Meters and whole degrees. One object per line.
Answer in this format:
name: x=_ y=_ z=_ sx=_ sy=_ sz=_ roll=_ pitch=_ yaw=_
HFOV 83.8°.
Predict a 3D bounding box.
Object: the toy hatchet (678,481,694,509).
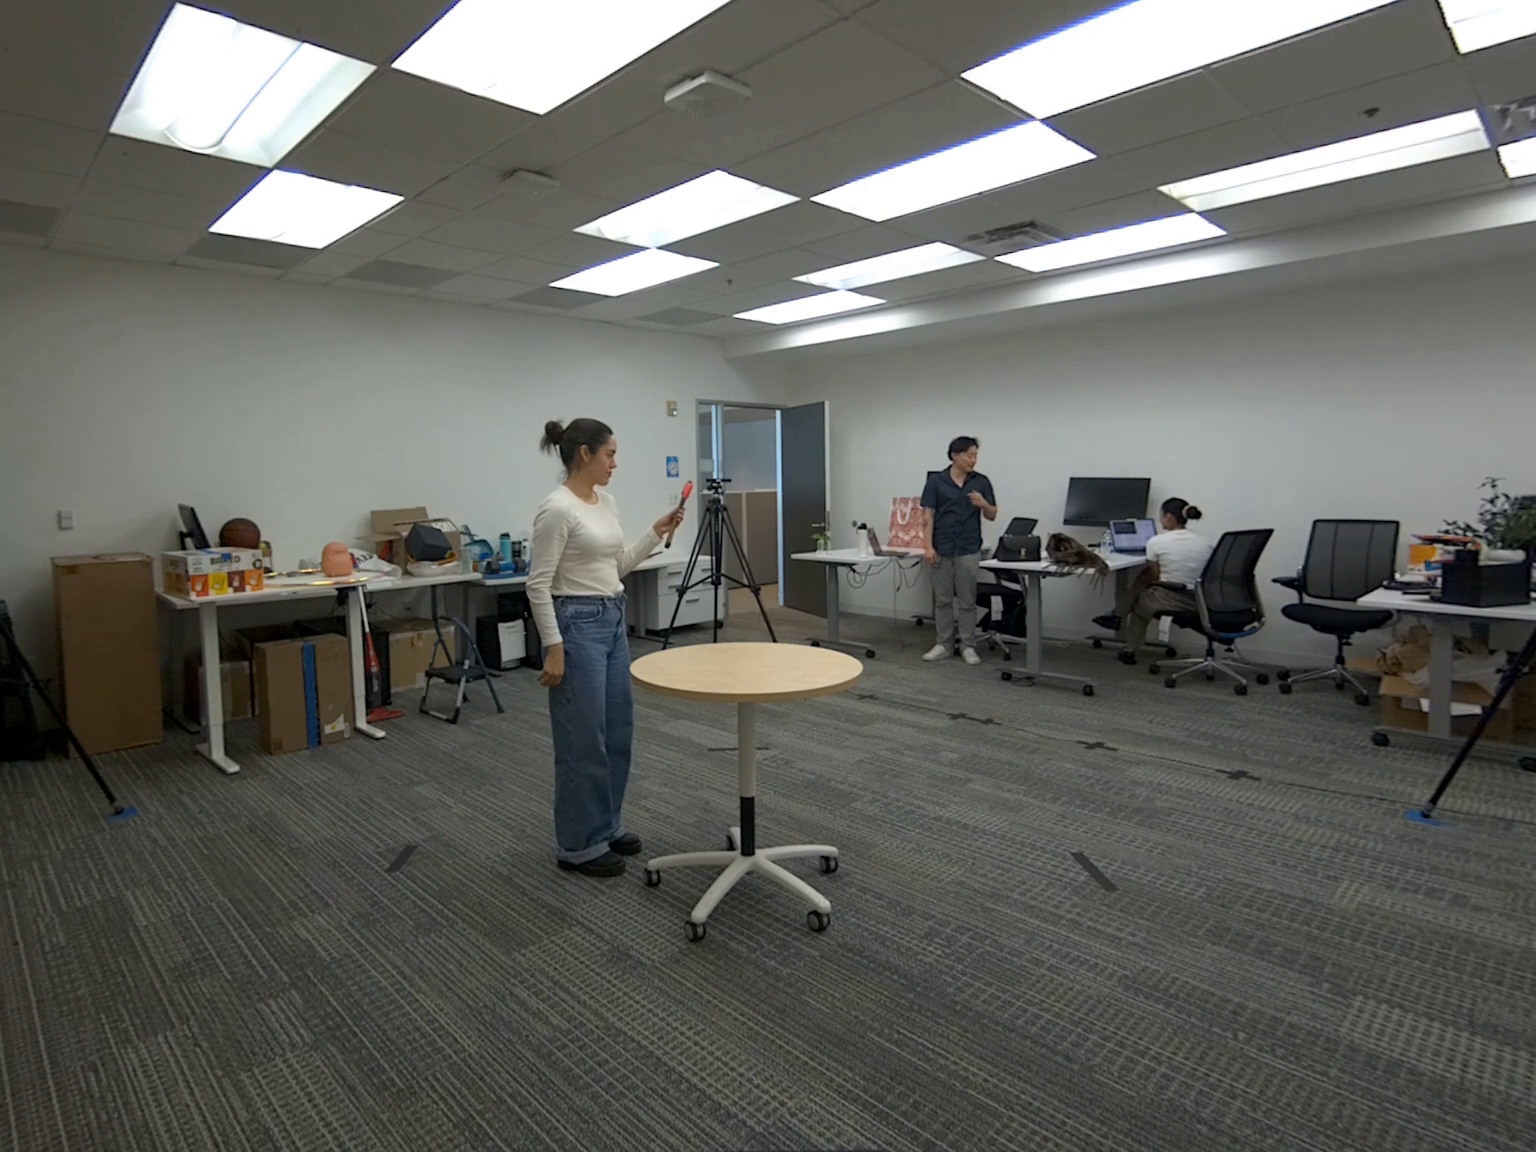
toy hatchet: x=-0.330 y=-0.241 z=3.163 sx=0.029 sy=0.274 sz=0.131 roll=23 pitch=-29 yaw=-13
